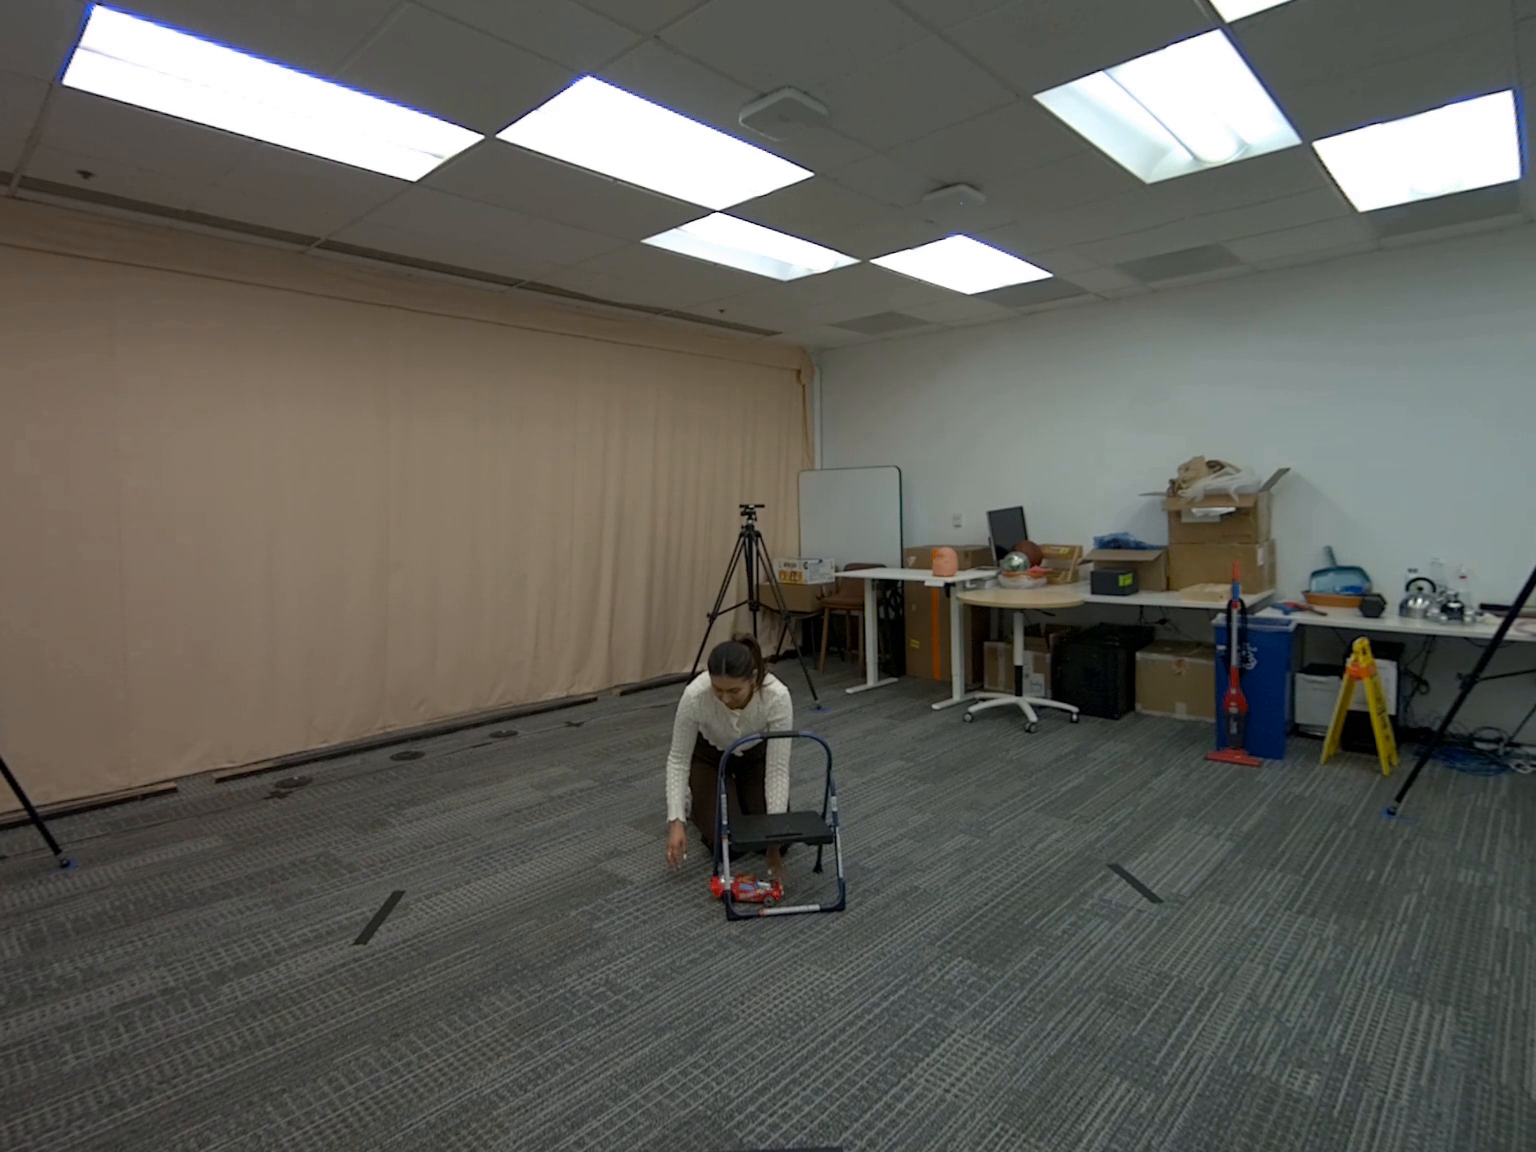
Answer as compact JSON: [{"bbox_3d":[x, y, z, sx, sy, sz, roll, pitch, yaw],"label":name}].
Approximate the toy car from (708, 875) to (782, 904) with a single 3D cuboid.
[{"bbox_3d":[-0.103,1.107,2.988,0.257,0.083,0.129,12,7,9],"label":"toy car"}]
